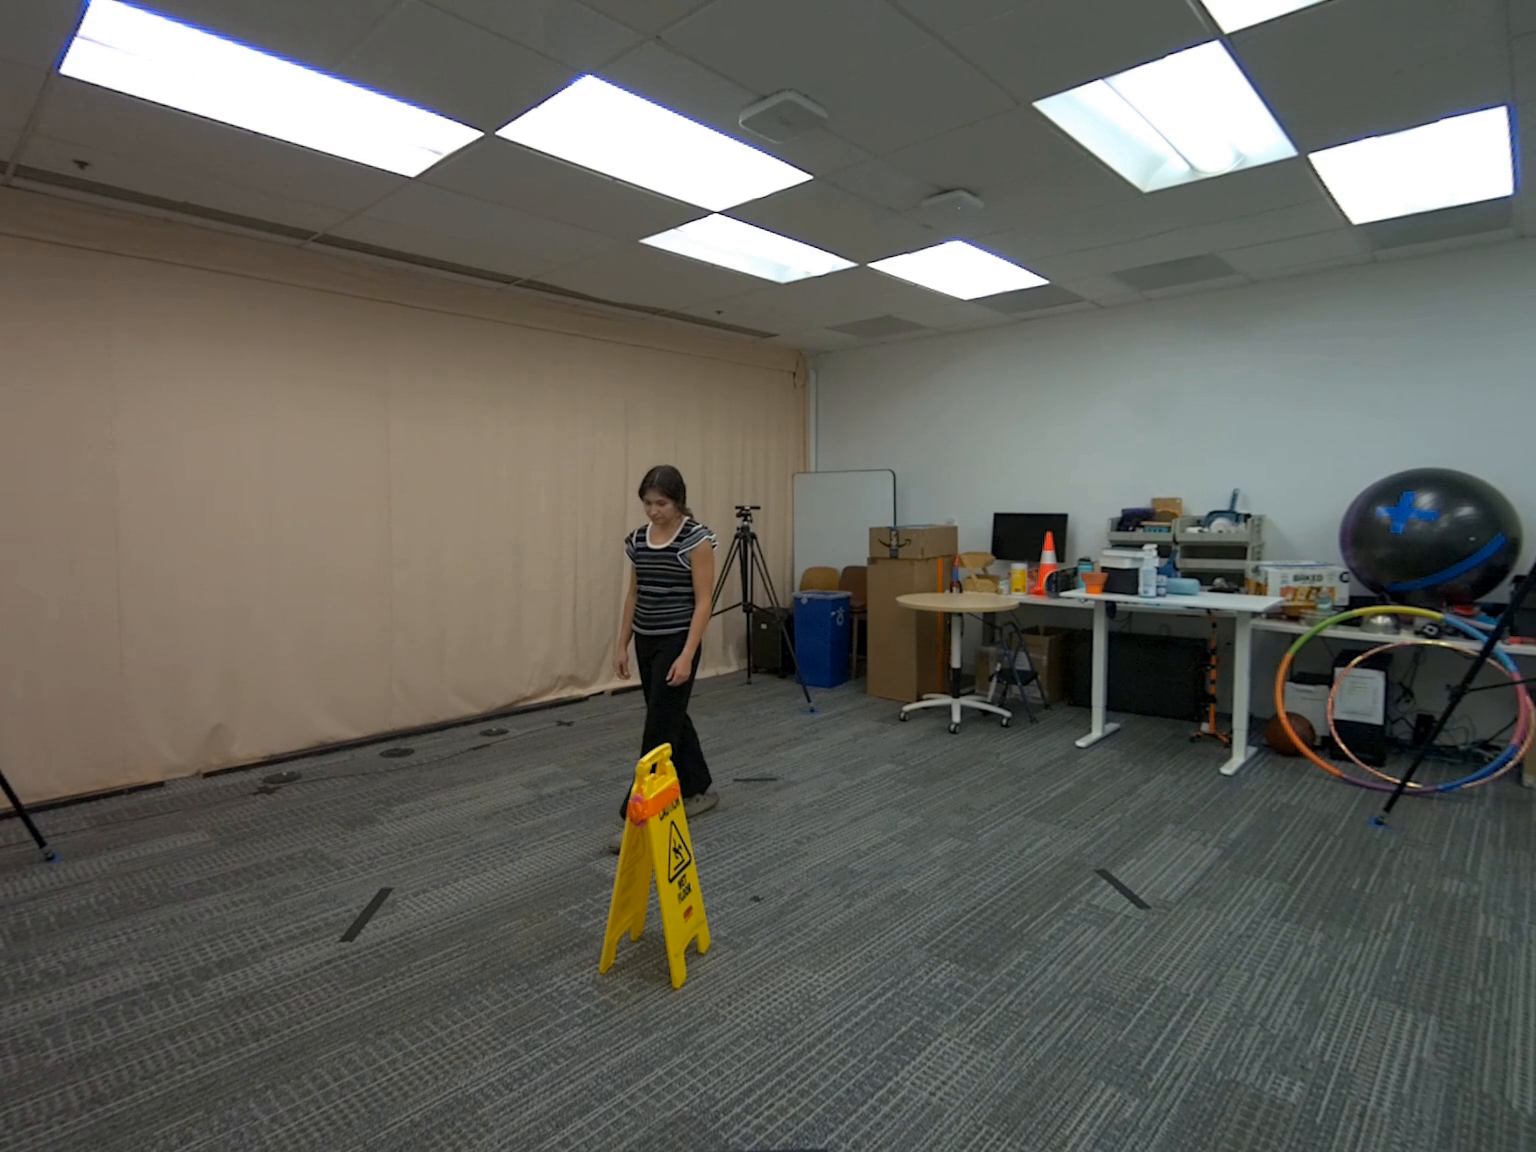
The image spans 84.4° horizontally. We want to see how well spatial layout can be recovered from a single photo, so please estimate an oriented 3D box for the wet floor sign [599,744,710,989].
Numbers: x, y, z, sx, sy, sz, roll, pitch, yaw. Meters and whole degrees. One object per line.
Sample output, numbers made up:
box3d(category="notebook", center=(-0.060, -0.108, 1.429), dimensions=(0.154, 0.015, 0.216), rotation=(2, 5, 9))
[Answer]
box3d(category="wet floor sign", center=(-0.344, 0.856, 2.576), dimensions=(0.295, 0.645, 0.277), rotation=(0, 2, 16))
